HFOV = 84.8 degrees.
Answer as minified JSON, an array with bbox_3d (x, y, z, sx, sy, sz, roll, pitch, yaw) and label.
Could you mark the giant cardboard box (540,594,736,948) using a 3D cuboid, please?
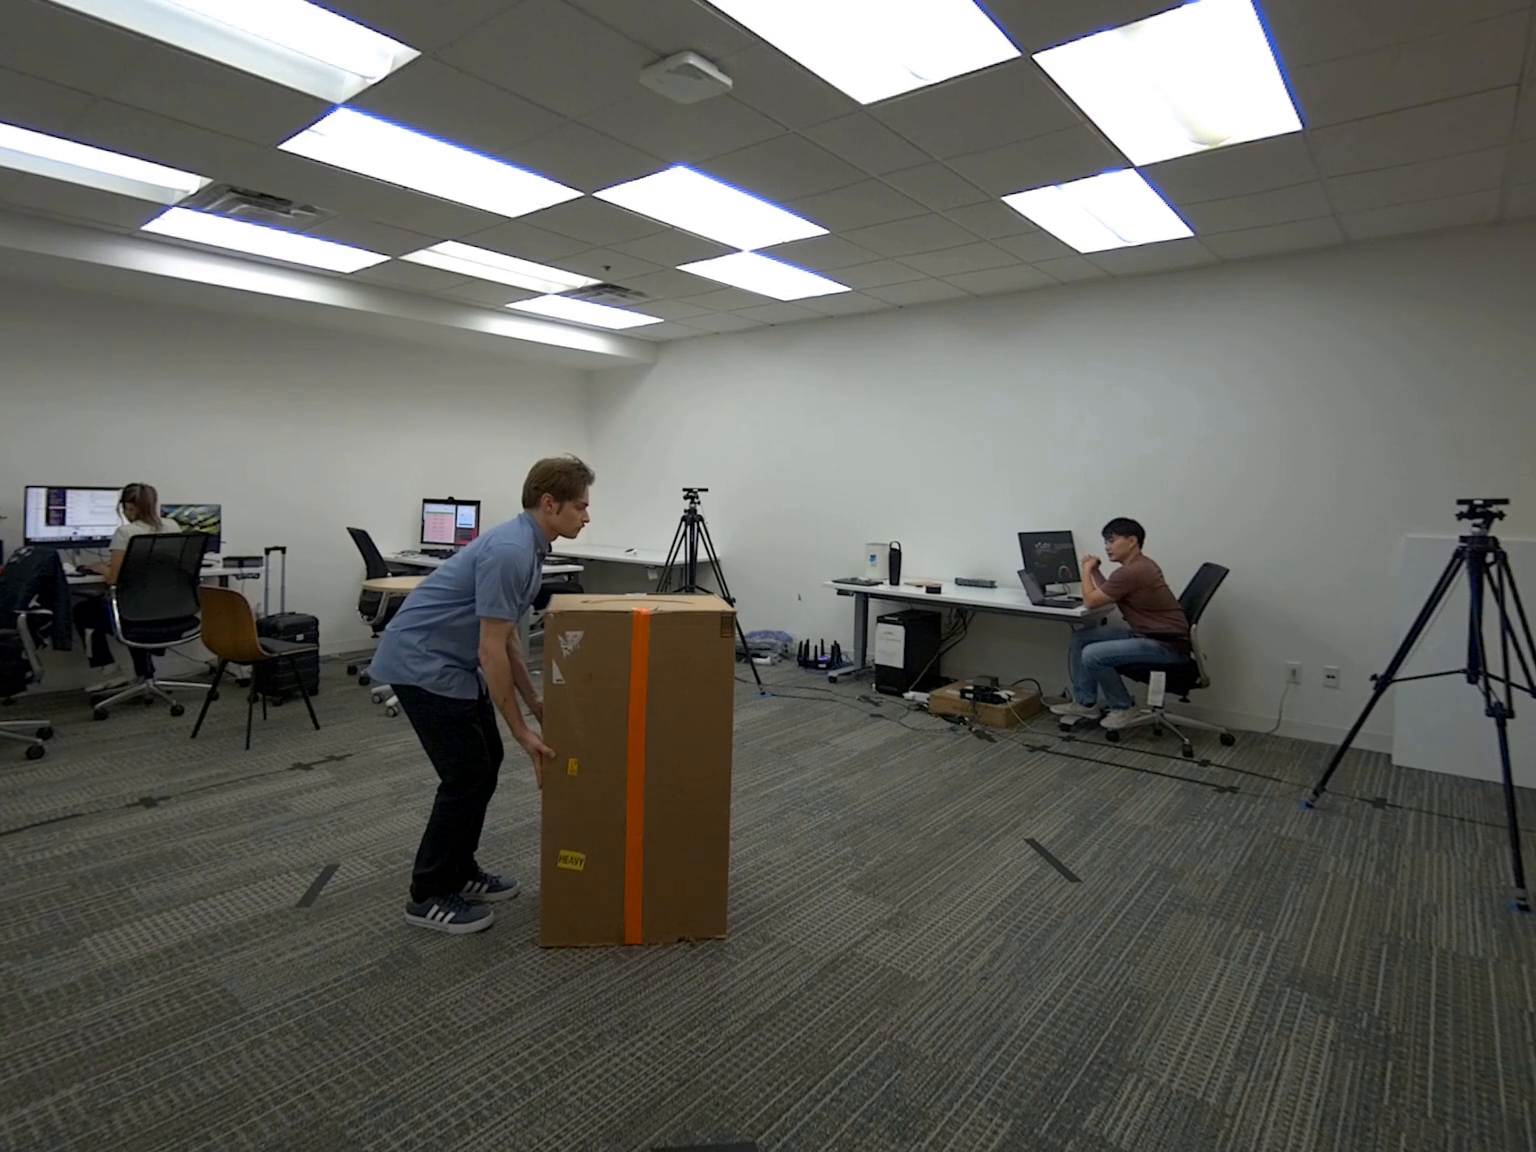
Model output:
[{"bbox_3d":[-0.442,0.594,2.767,0.572,1.023,0.431,1,3,-9],"label":"giant cardboard box"}]
